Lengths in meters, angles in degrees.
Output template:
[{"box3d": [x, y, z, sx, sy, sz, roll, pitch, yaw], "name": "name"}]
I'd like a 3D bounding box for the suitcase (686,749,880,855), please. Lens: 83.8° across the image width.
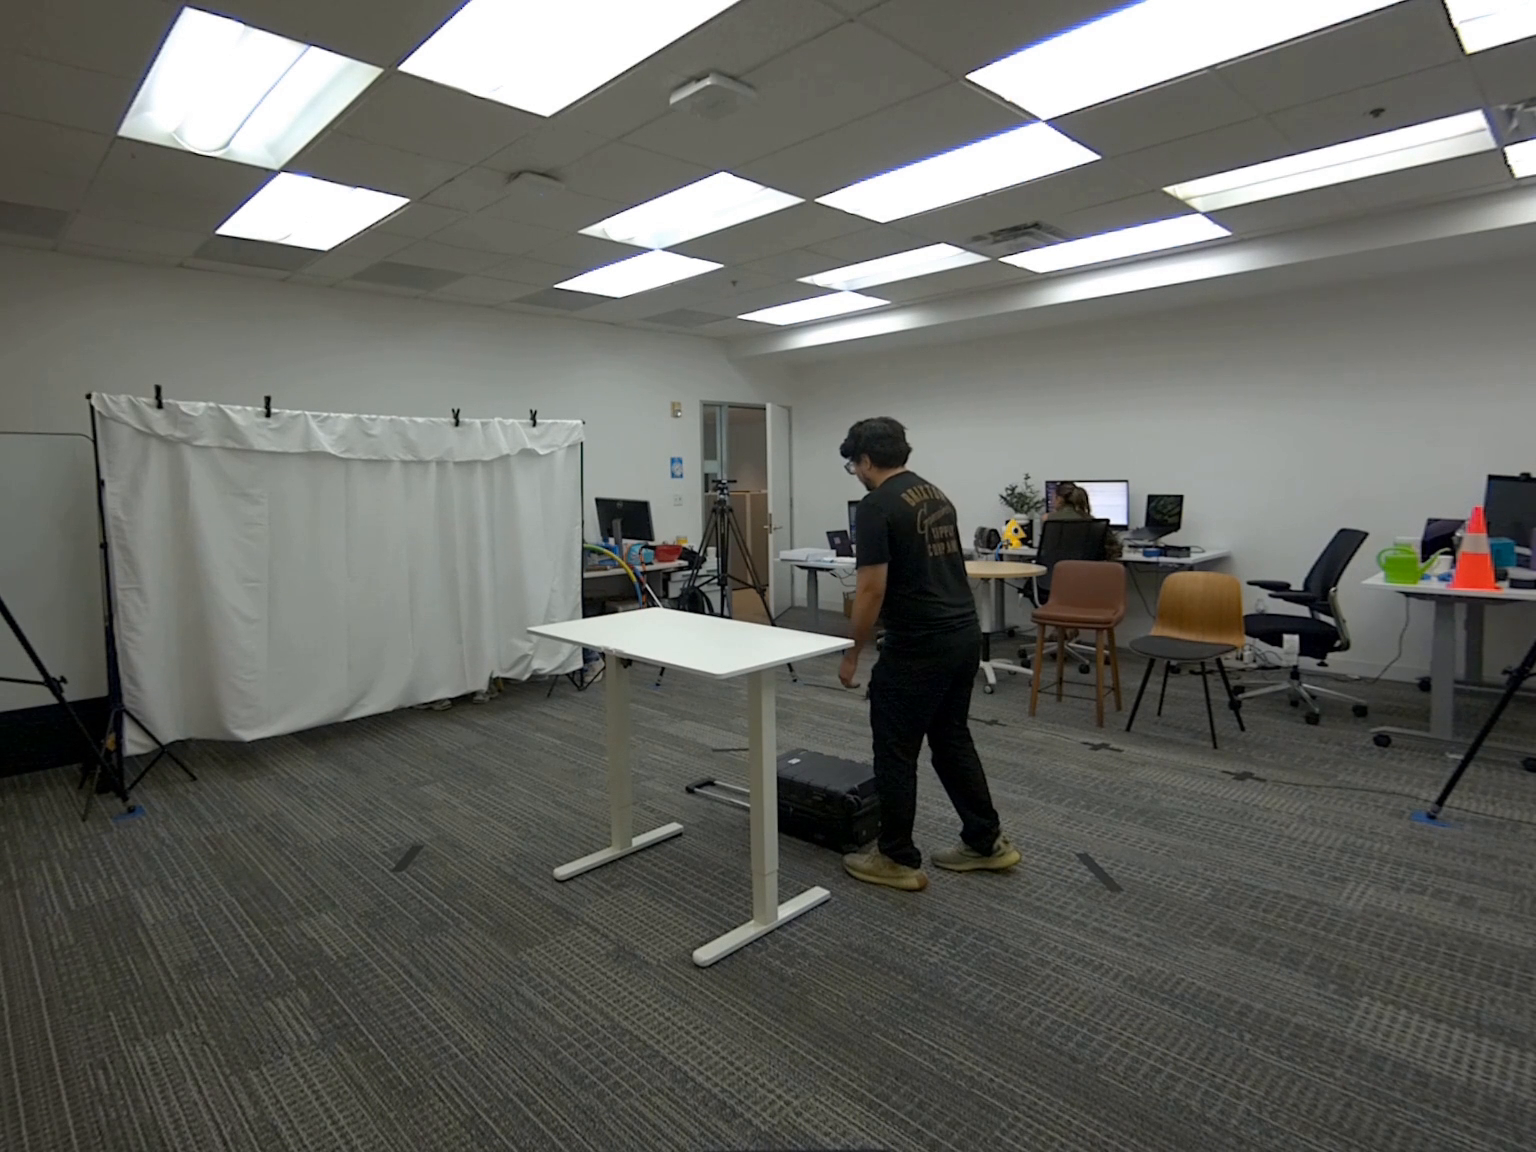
[{"box3d": [0.062, 0.871, 3.567, 1.009, 0.255, 0.374, 6, 10, 41], "name": "suitcase"}]
